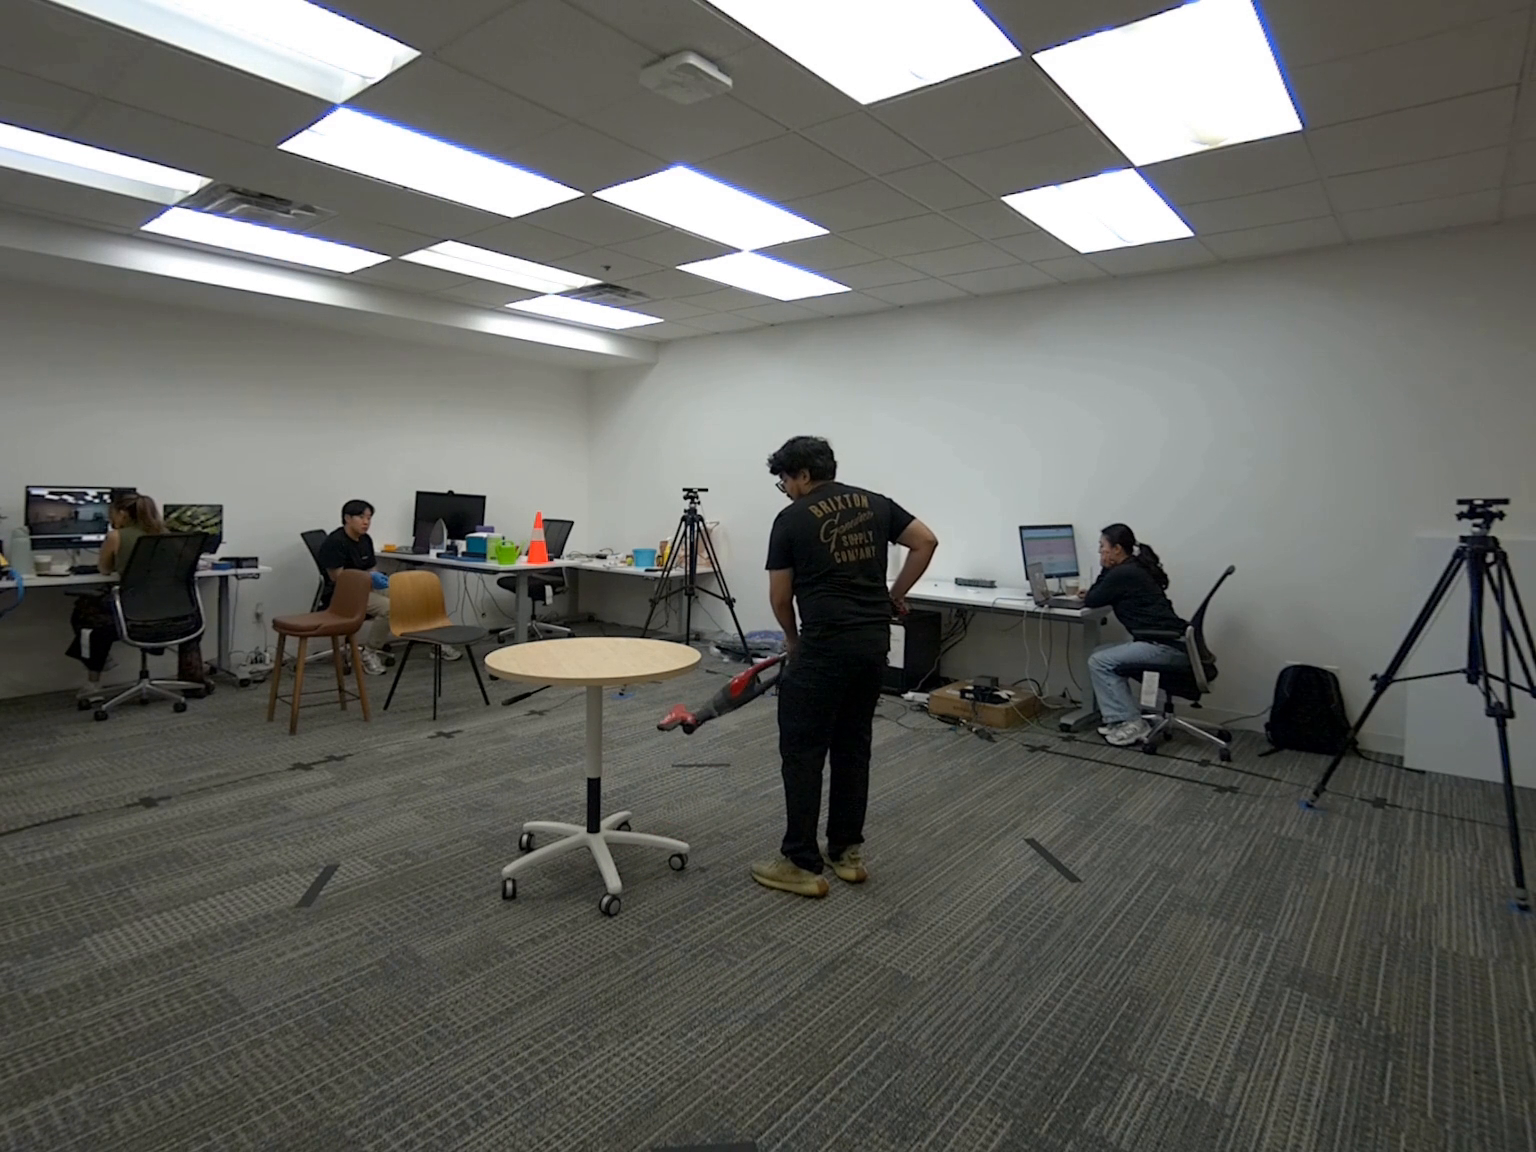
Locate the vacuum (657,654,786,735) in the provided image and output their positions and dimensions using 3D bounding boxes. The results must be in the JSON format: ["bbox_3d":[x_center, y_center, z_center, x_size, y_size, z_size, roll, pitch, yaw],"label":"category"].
[{"bbox_3d":[0.032,0.367,3.371,1.058,0.145,0.249,-30,-4,23],"label":"vacuum"}]
